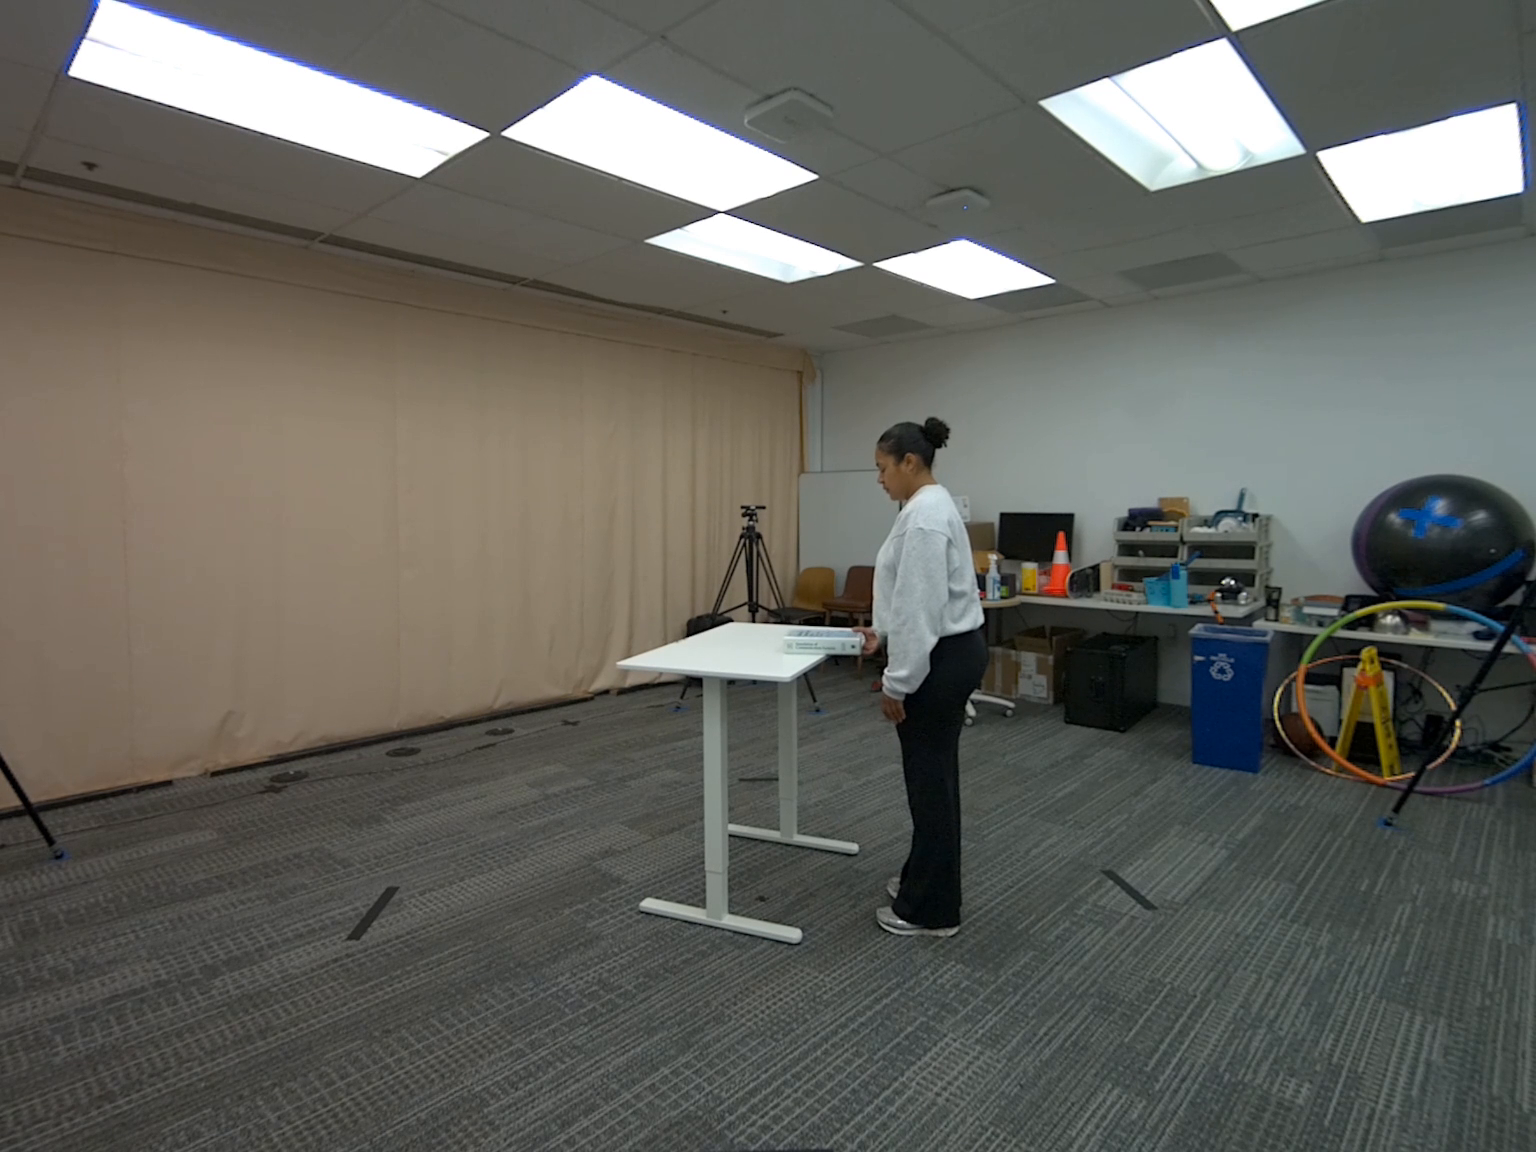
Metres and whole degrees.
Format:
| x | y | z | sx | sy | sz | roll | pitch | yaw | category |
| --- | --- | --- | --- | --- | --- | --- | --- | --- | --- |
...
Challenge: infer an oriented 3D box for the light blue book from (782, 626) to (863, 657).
| x | y | z | sx | sy | sz | roll | pitch | yaw | category |
| --- | --- | --- | --- | --- | --- | --- | --- | --- | --- |
| 0.197 | 0.234 | 2.968 | 0.264 | 0.059 | 0.189 | 0 | 5 | 12 | light blue book |
